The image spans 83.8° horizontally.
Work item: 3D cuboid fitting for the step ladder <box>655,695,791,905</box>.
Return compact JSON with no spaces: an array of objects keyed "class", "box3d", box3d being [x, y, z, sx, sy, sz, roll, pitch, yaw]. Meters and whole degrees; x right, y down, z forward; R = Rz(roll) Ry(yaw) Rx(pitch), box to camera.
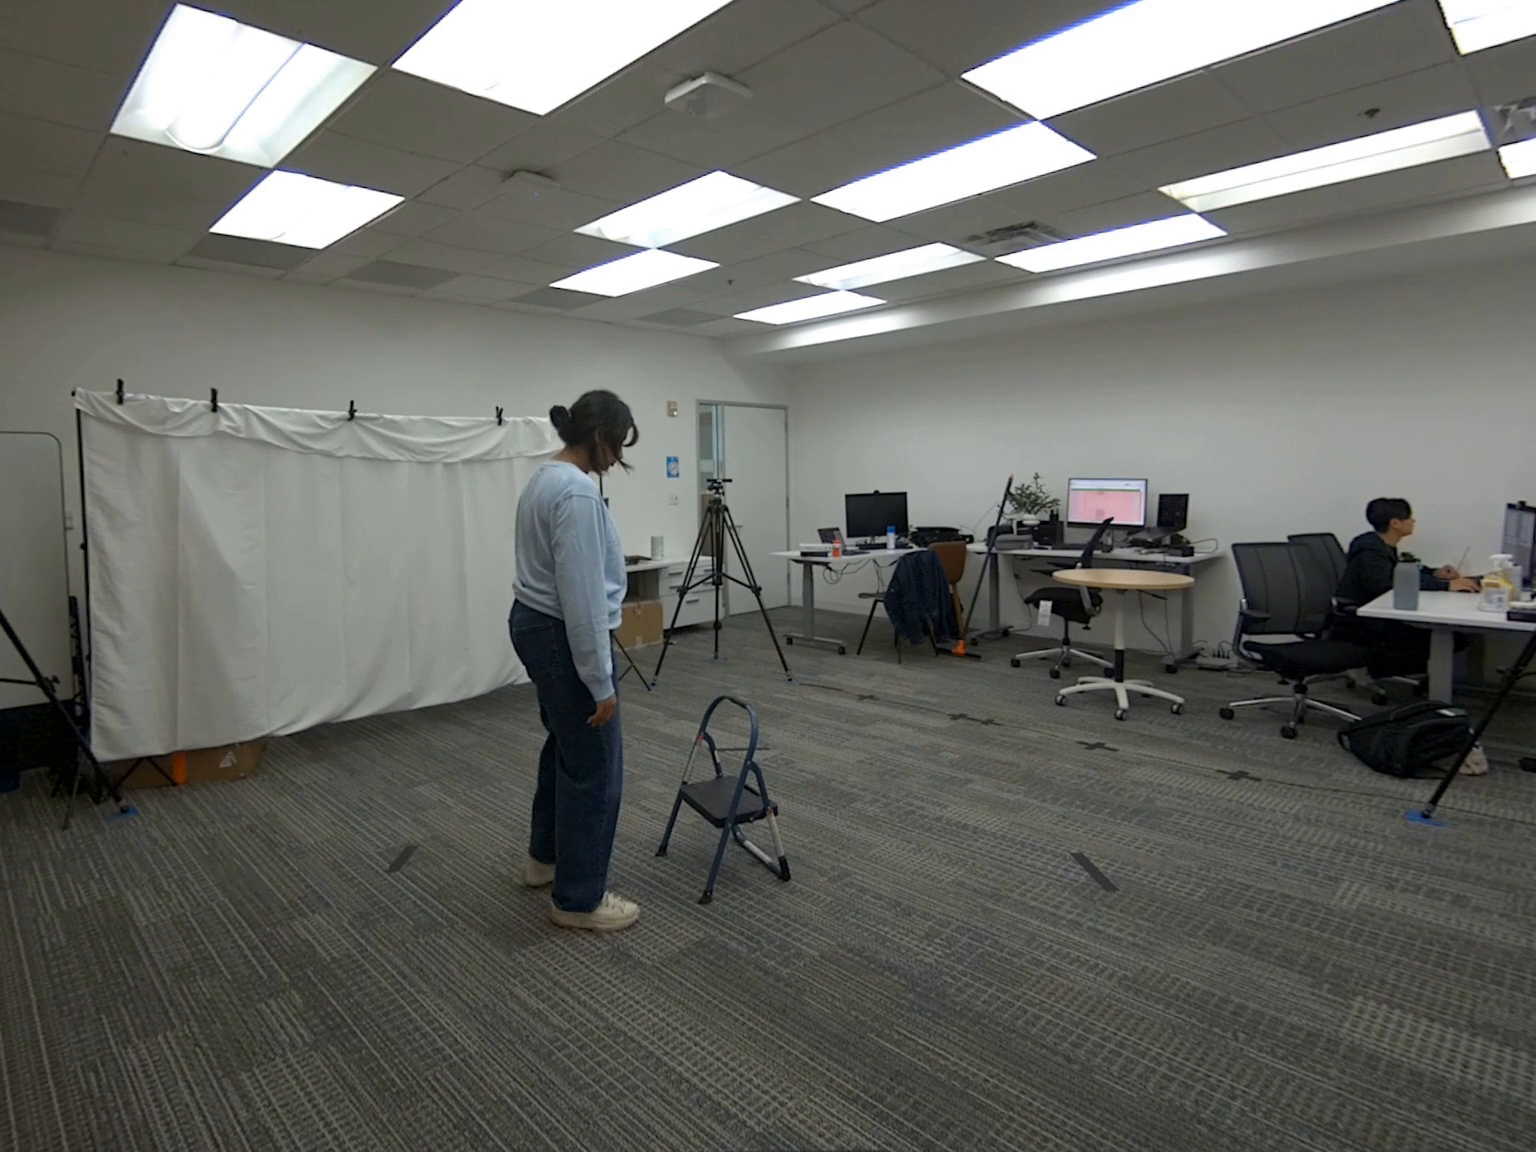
[{"class":"step ladder","box3d":[-0.169,0.751,3.060,0.341,0.604,0.442,-3,5,-28]}]
